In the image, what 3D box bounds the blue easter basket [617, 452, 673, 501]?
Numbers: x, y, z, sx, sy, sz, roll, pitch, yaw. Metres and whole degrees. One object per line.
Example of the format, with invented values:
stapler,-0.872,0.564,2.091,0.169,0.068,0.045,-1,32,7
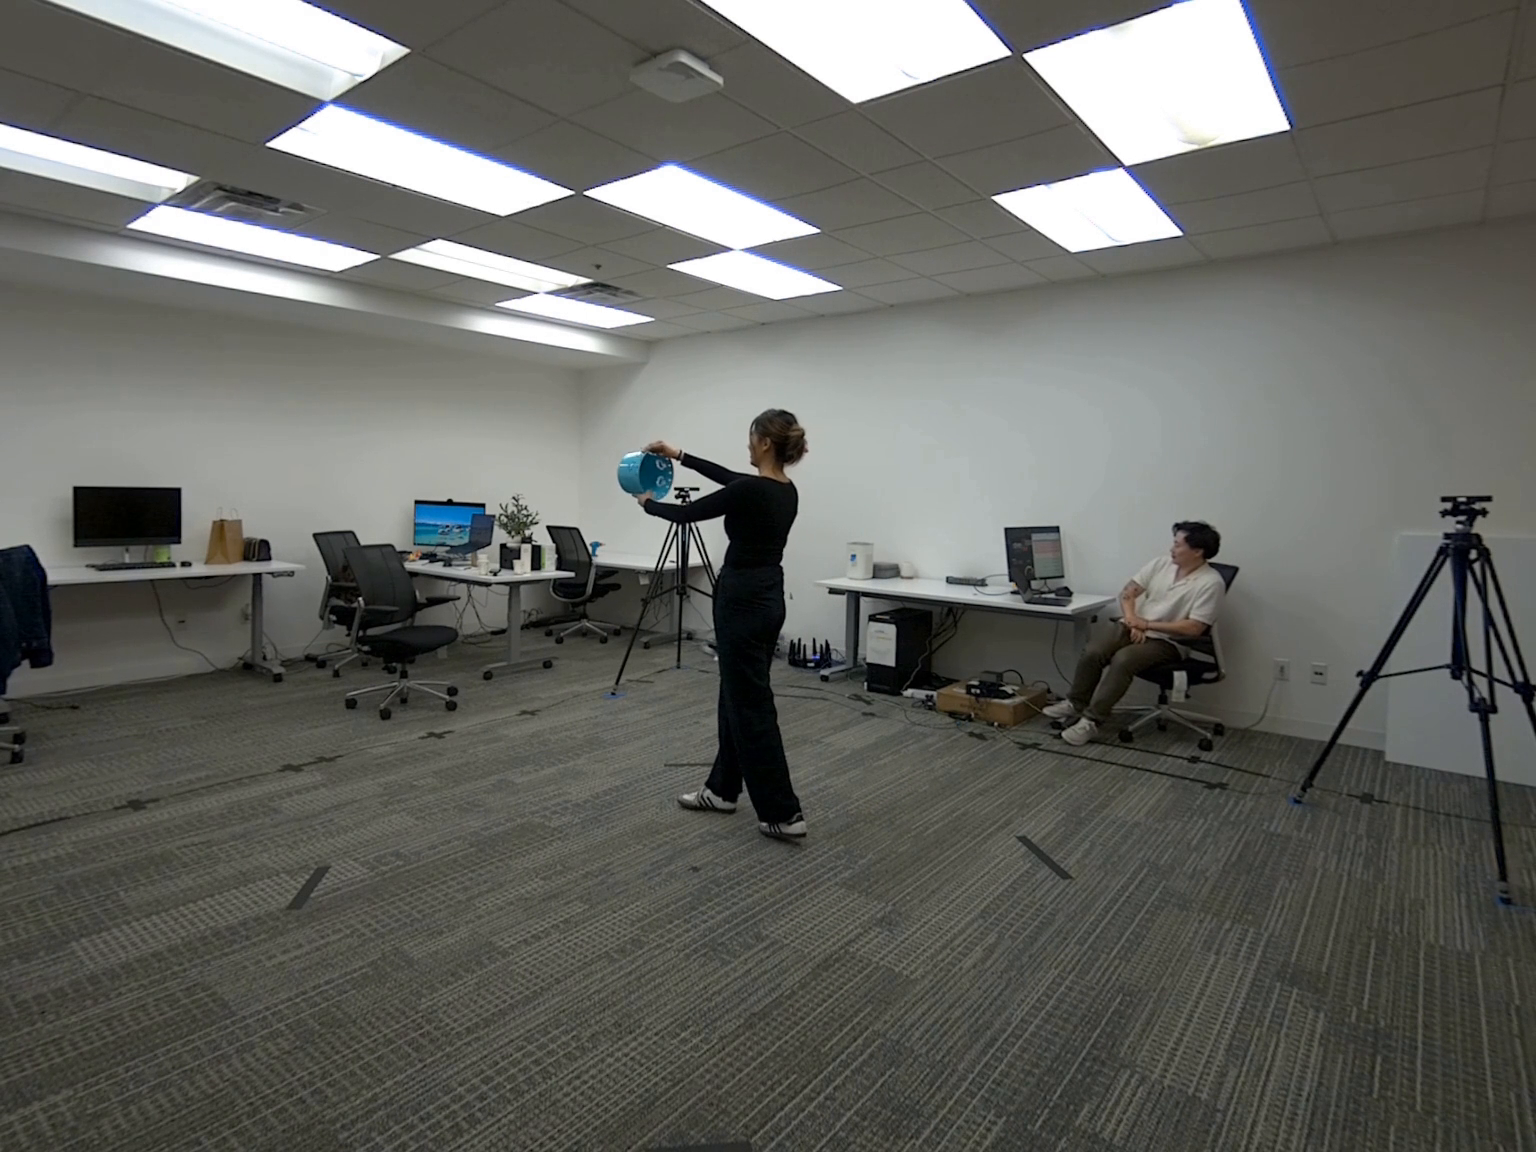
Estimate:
blue easter basket,-0.554,-0.459,3.777,0.161,0.243,0.237,5,5,36
